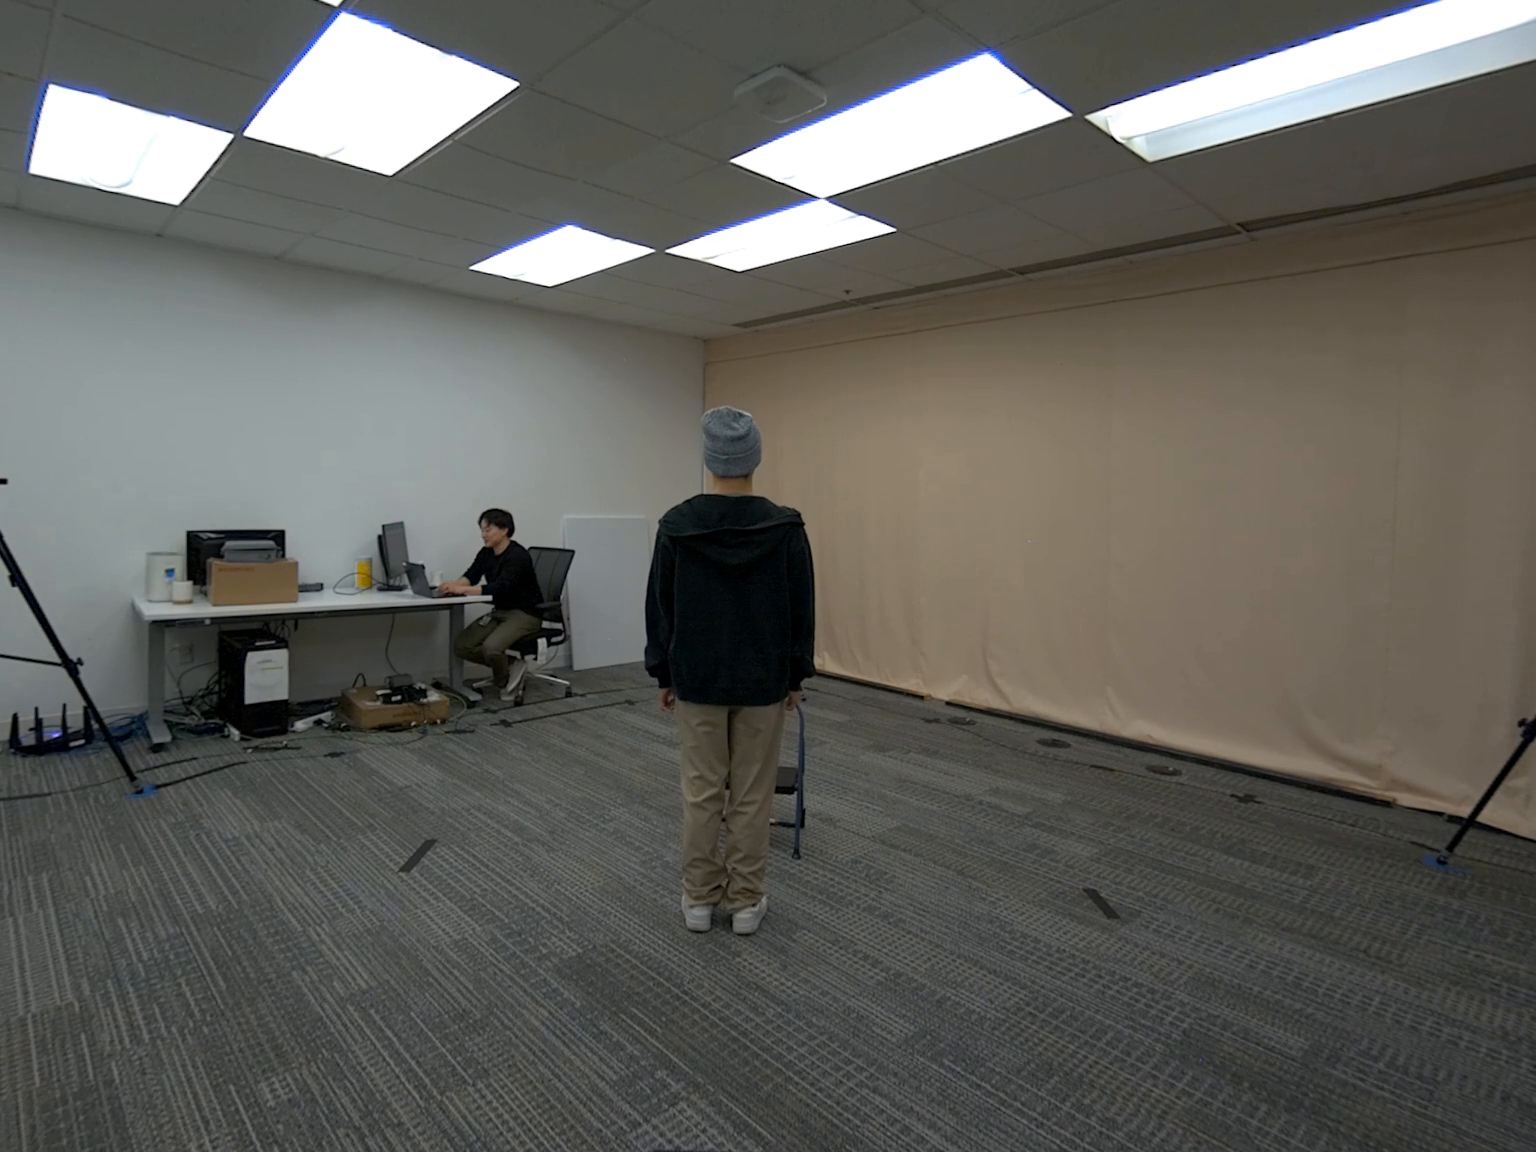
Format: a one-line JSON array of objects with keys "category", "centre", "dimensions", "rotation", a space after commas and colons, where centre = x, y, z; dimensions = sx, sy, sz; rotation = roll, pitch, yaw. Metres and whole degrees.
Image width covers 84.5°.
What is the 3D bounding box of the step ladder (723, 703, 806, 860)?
[{"category": "step ladder", "centre": [-0.060, 0.780, 3.455], "dimensions": [0.433, 0.604, 0.348], "rotation": [2, 3, 8]}]
